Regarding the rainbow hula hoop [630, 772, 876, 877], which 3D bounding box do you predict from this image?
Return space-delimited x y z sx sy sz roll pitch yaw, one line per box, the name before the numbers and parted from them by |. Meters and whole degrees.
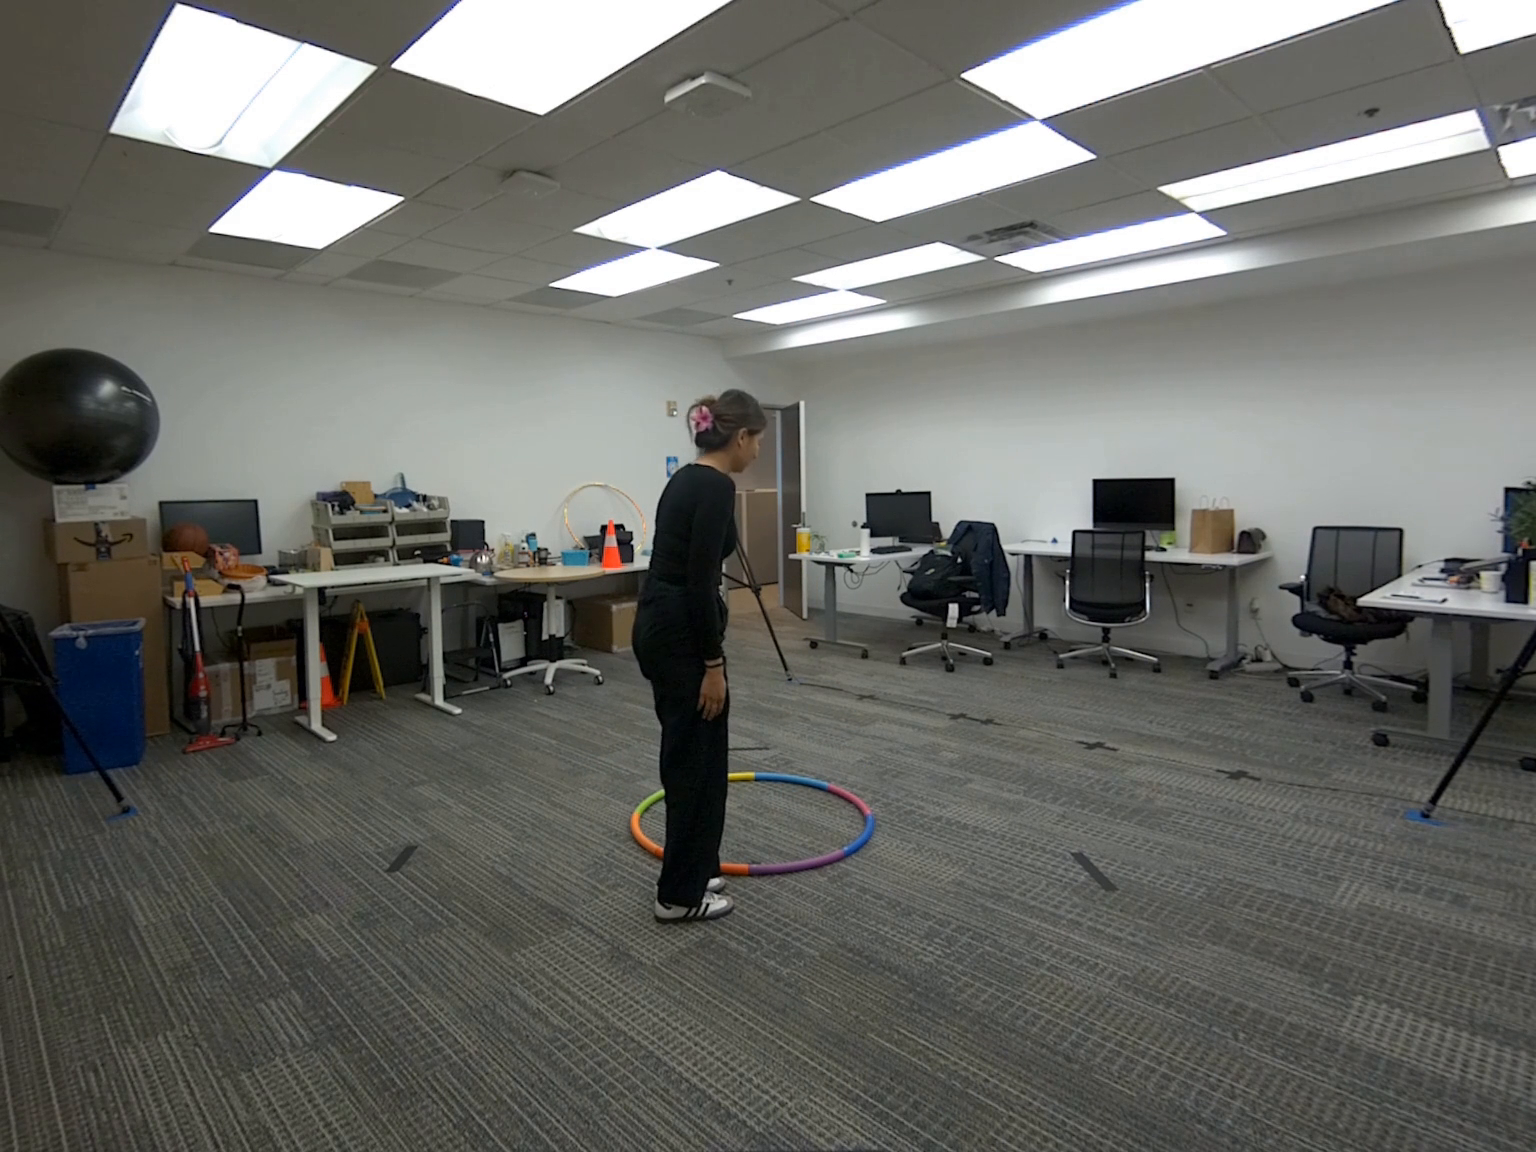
rainbow hula hoop | -0.066 0.971 3.486 0.978 0.035 0.984 -1 7 -2
